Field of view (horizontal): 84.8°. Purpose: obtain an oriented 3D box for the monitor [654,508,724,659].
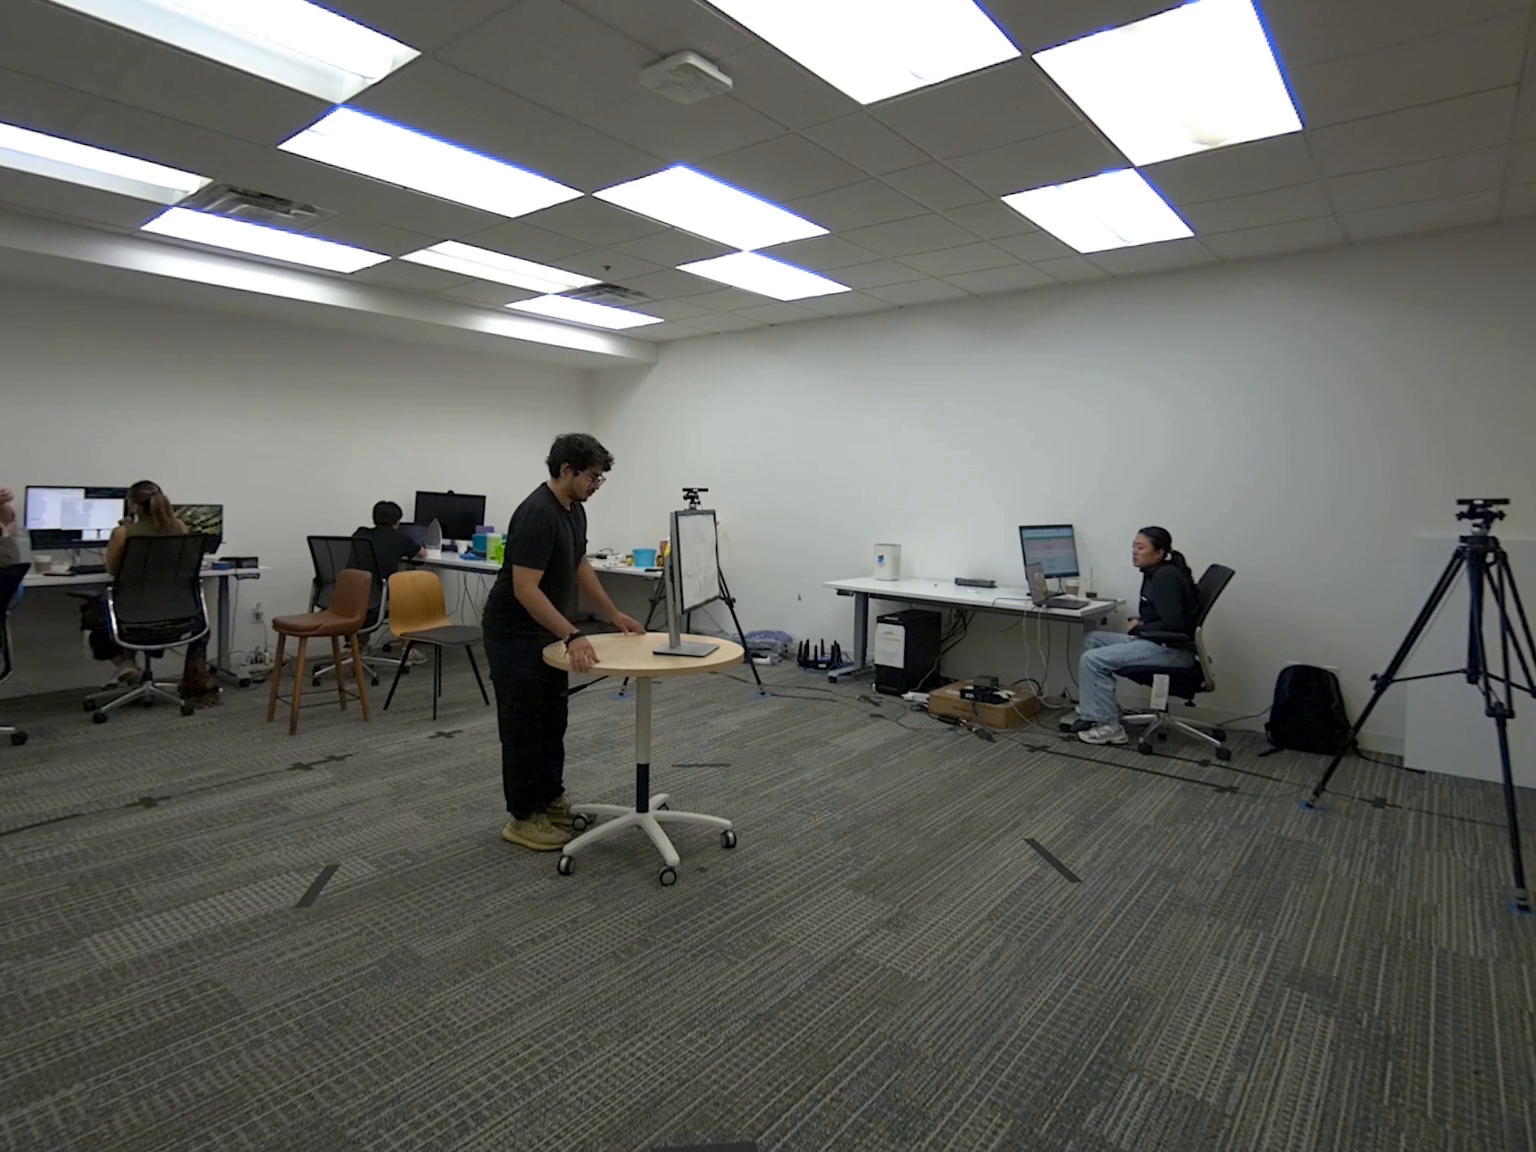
[{"bbox_3d":[-0.341,0.024,3.233,0.213,0.553,0.559,-2,3,11],"label":"monitor"}]
